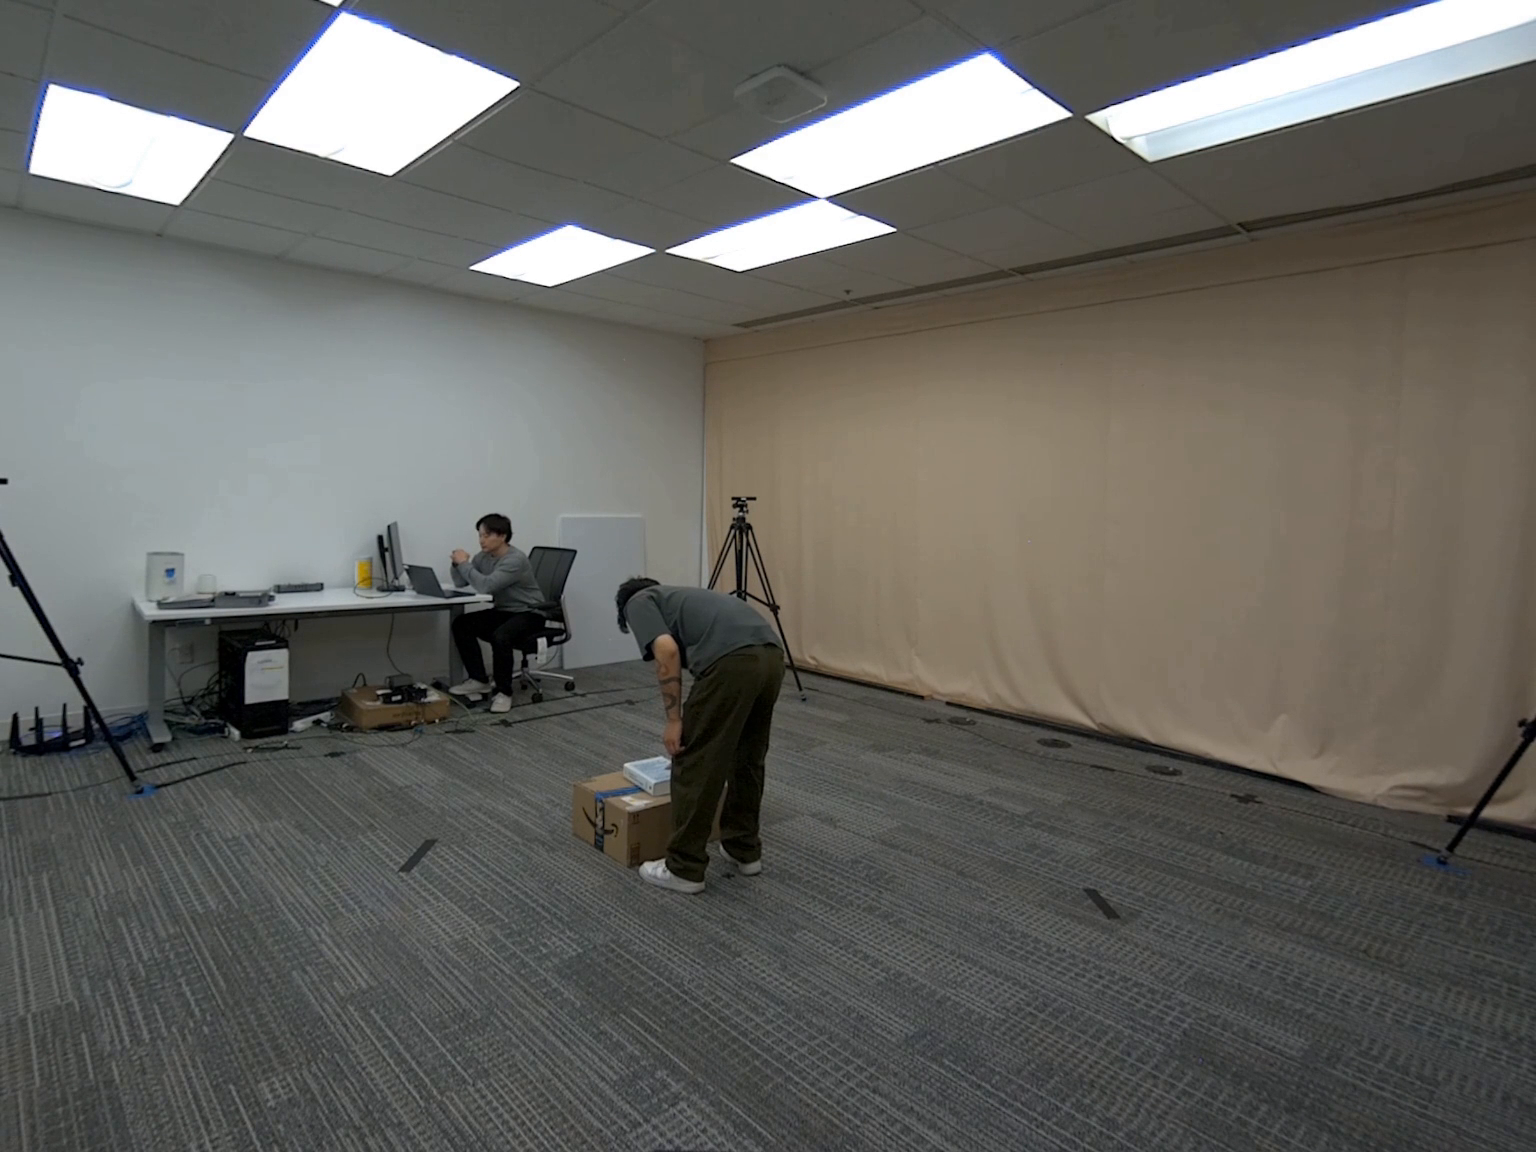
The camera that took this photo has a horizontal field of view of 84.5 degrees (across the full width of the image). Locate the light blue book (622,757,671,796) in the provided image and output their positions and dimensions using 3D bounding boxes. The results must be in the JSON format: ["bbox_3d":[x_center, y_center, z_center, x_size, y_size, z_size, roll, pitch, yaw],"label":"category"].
[{"bbox_3d":[-0.469,0.826,3.491,0.187,0.059,0.267,-4,8,-35],"label":"light blue book"}]
